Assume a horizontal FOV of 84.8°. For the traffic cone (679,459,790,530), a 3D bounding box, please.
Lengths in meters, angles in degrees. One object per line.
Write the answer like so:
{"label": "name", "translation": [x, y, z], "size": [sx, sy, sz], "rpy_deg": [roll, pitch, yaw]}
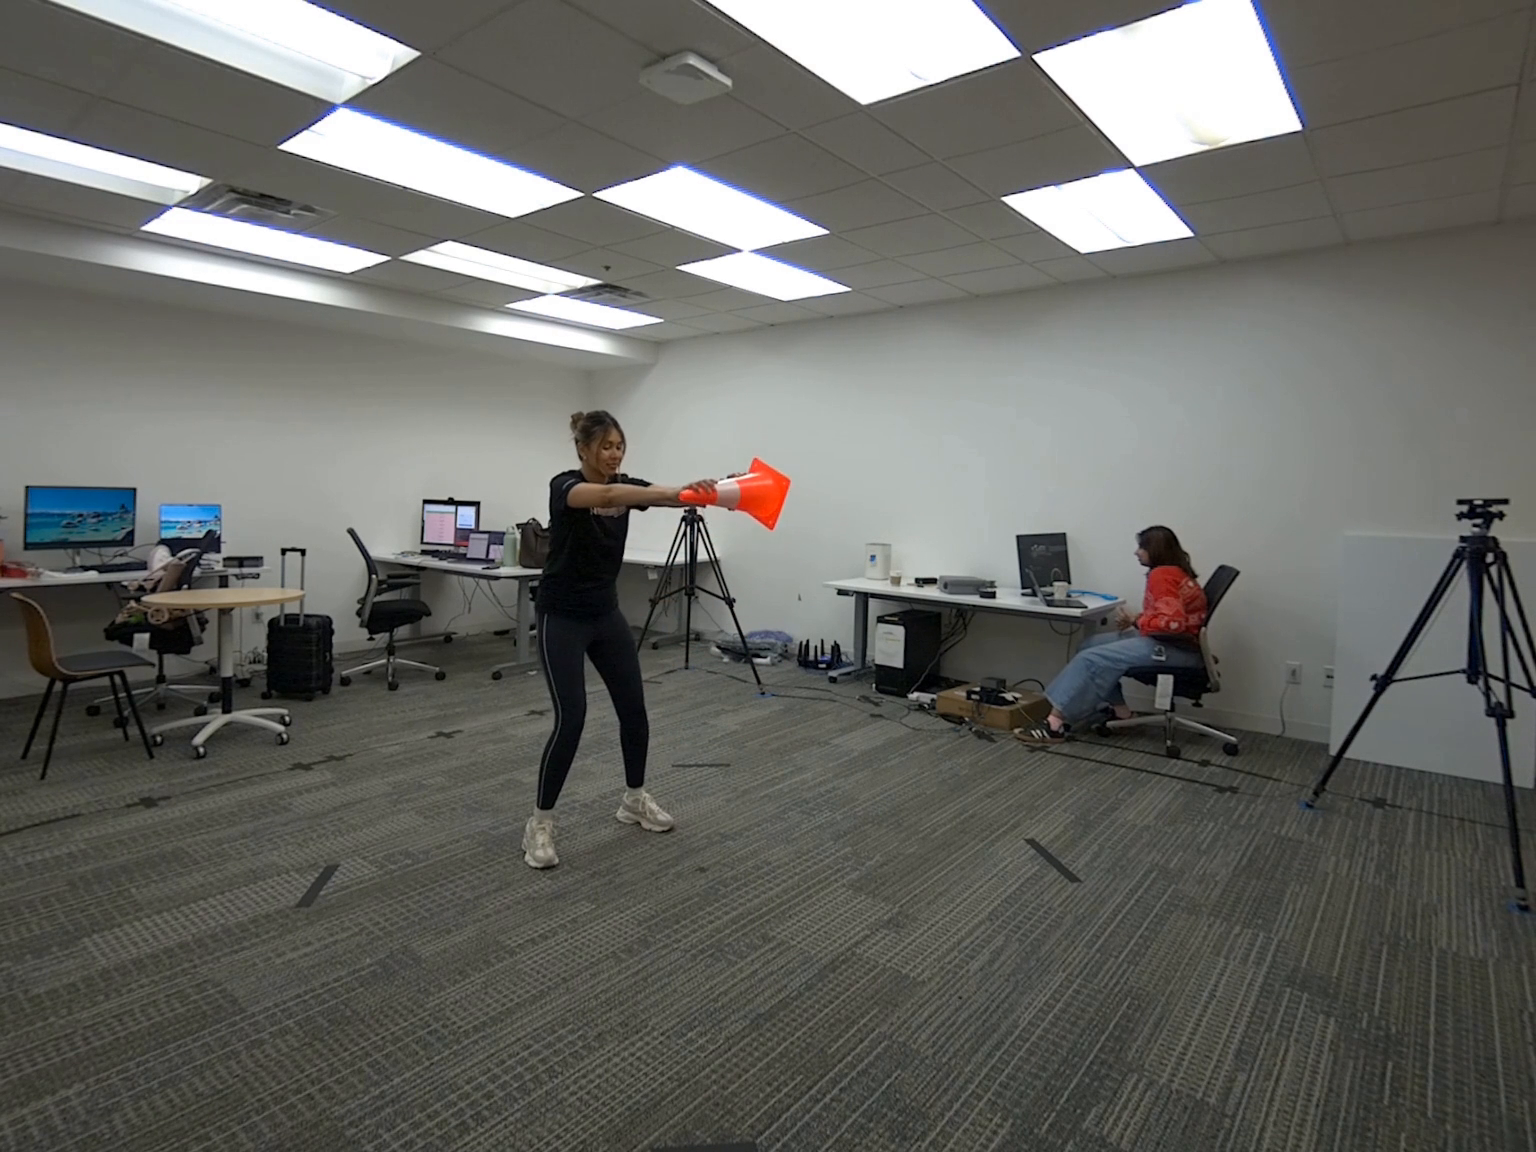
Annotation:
{"label": "traffic cone", "translation": [-0.160, -0.263, 2.844], "size": [0.373, 0.202, 0.212], "rpy_deg": [-6, 33, -42]}
